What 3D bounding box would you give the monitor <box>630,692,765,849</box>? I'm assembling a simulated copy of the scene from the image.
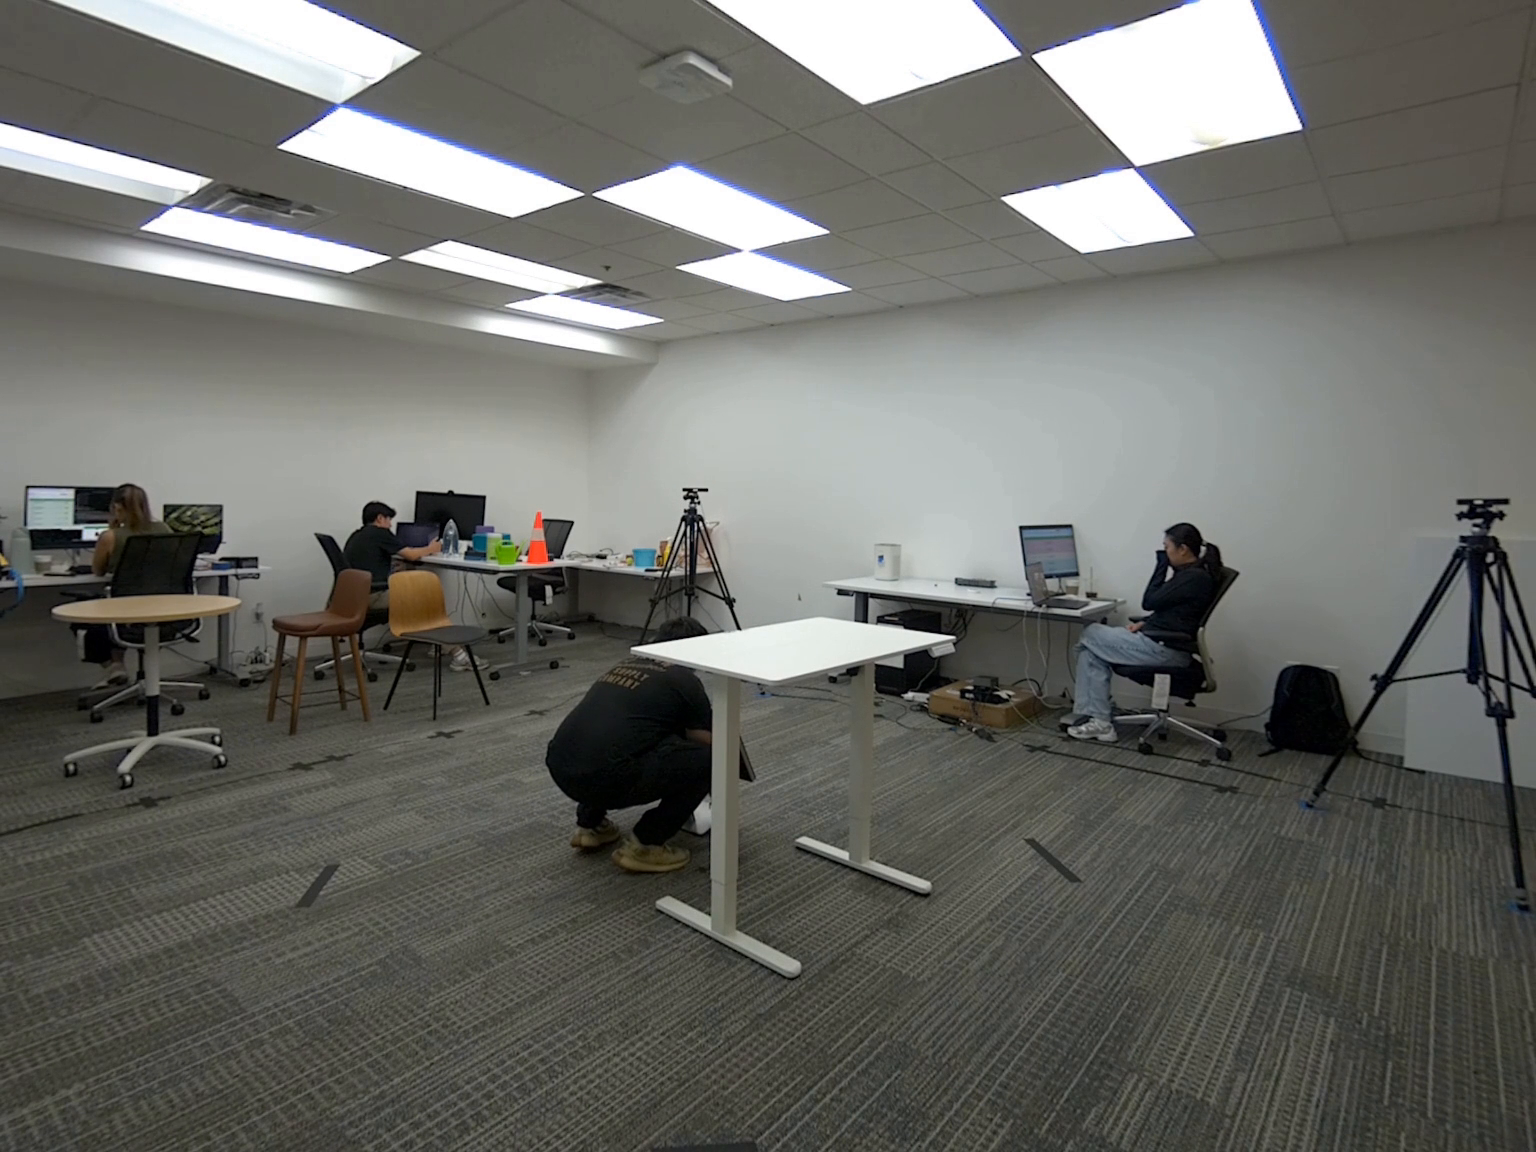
[{"bbox_3d":[-0.358,0.754,3.466,0.584,0.543,0.207,3,23,38],"label":"monitor"}]
